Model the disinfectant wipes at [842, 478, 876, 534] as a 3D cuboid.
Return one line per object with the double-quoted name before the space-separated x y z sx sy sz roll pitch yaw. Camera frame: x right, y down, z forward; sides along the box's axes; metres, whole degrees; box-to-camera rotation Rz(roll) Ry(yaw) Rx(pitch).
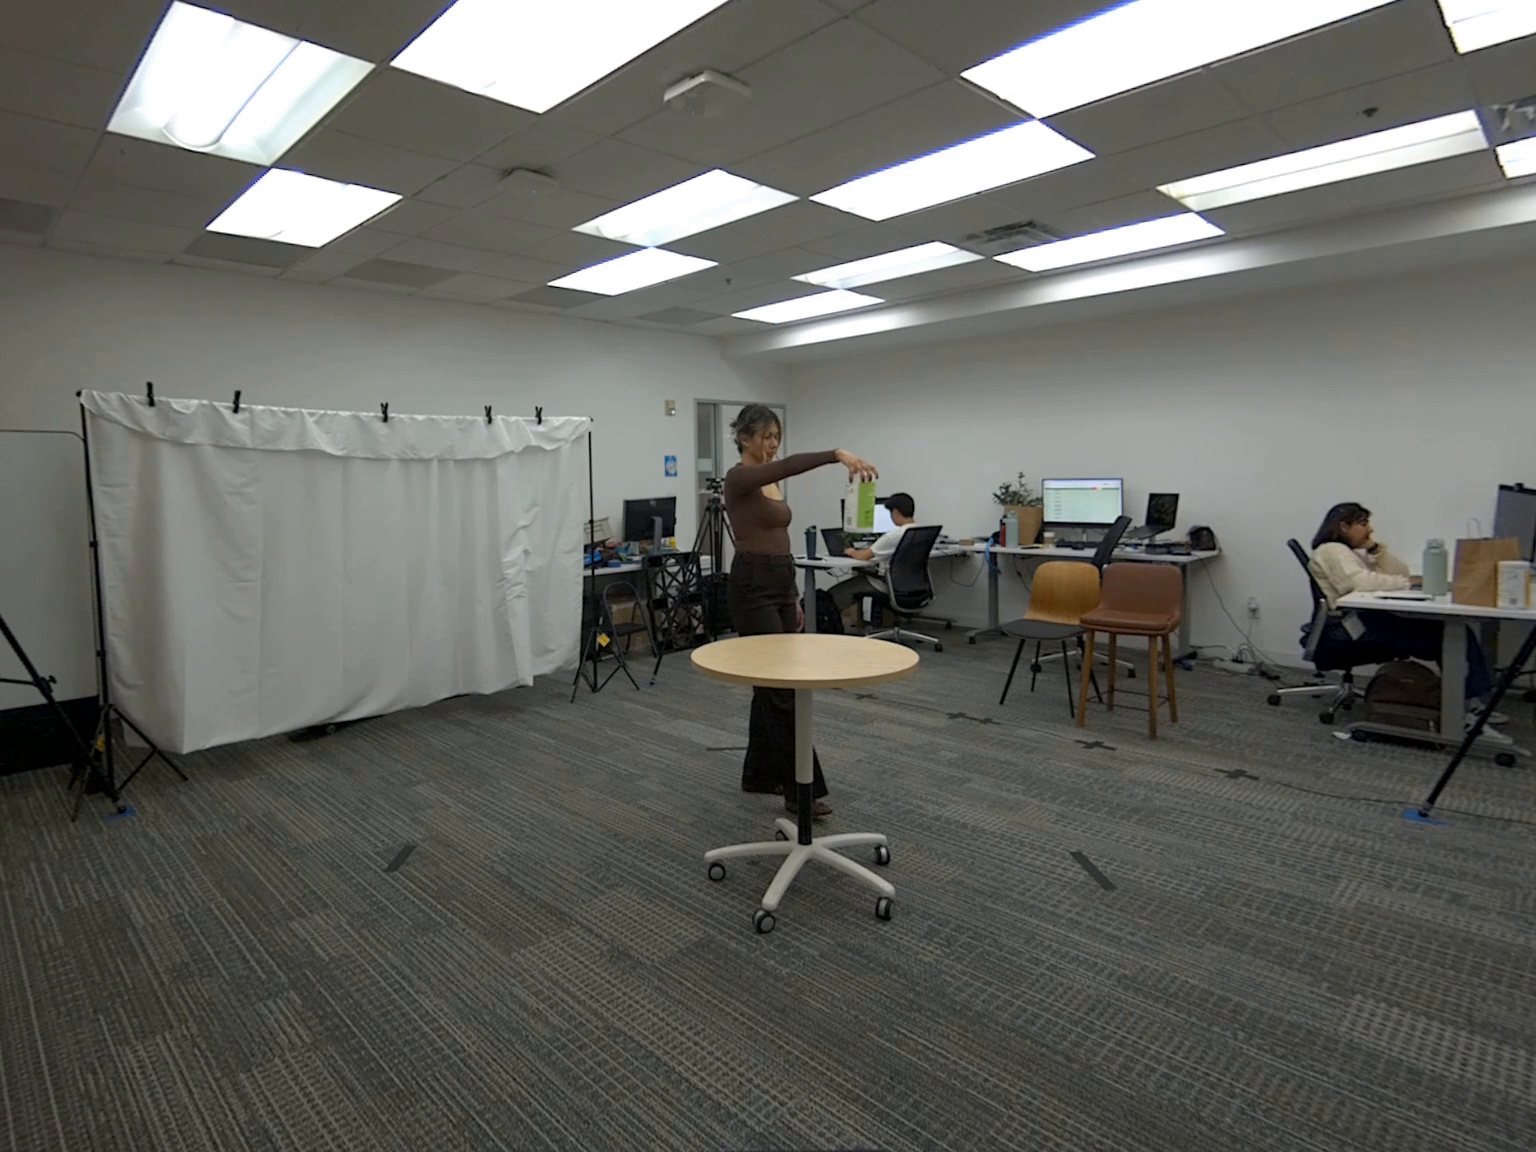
"disinfectant wipes" 0.345 -0.269 3.154 0.118 0.217 0.118 2 4 -2
